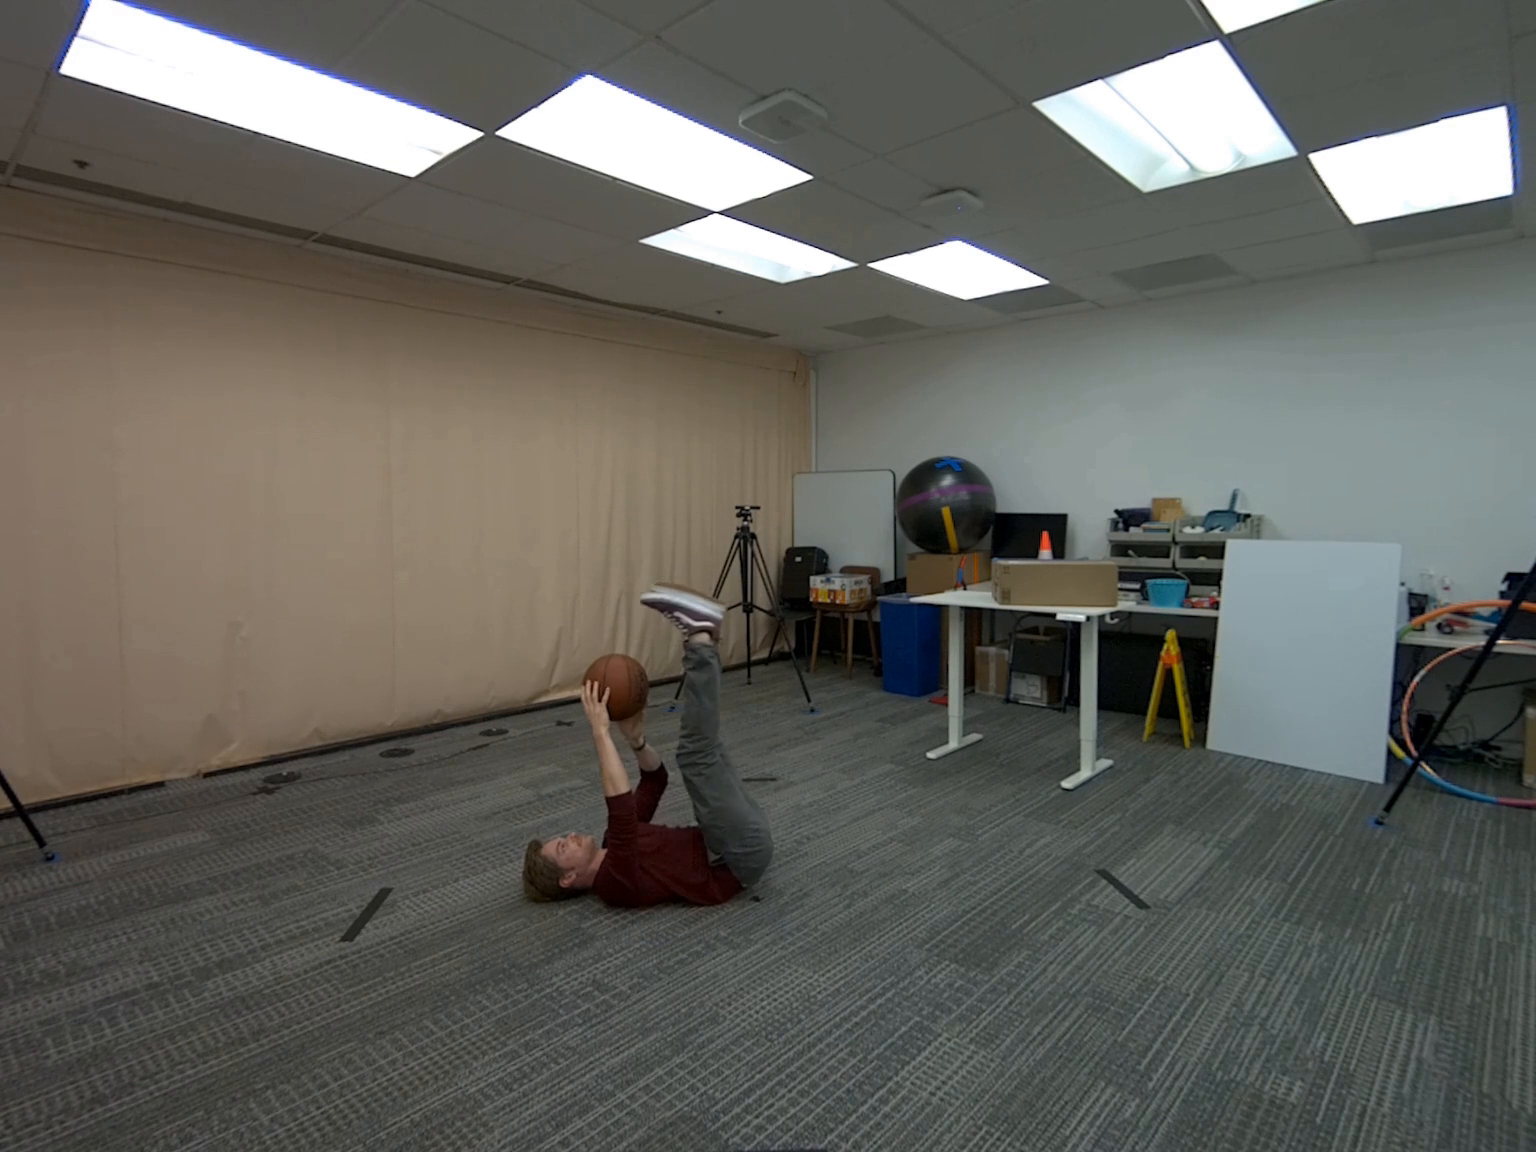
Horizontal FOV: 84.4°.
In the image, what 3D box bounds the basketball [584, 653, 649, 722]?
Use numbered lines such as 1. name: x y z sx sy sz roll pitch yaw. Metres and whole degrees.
1. basketball: -0.544 0.399 3.010 0.236 0.235 0.237 0 4 -2
